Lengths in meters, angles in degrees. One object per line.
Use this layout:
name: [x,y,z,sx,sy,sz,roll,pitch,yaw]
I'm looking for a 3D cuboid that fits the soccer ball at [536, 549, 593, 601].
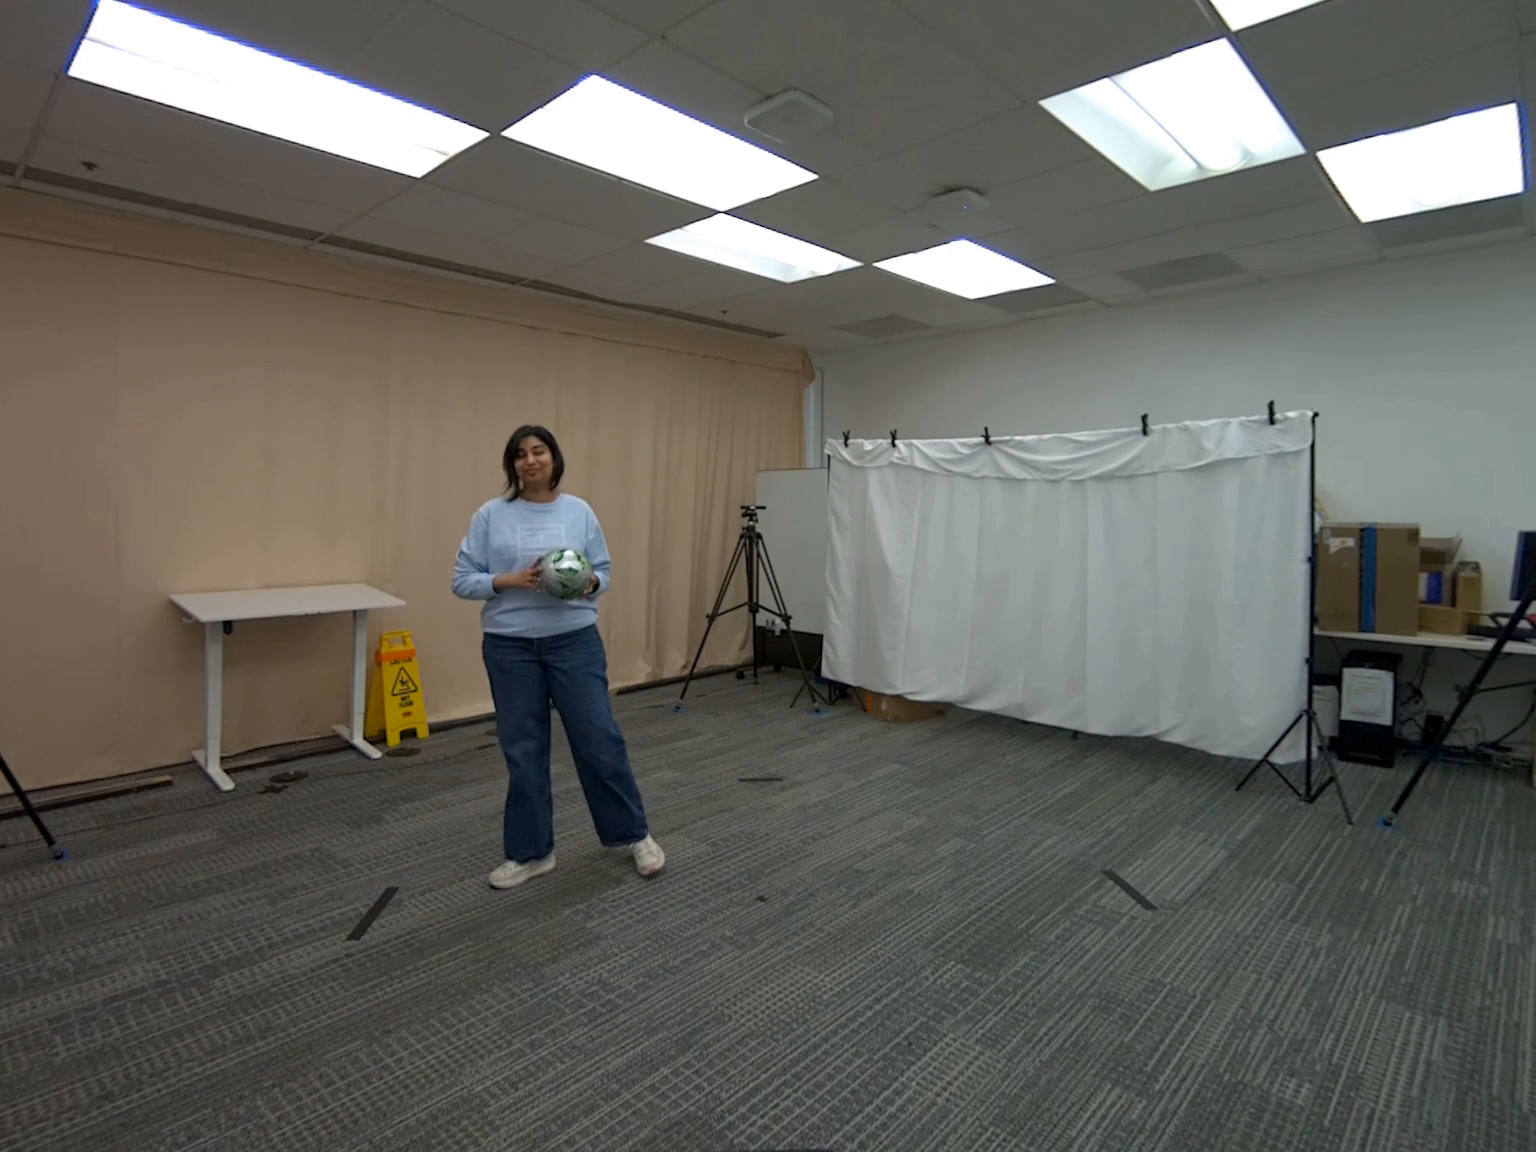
soccer ball: [-0.701,-0.006,2.929,0.187,0.187,0.188,0,4,-2]
